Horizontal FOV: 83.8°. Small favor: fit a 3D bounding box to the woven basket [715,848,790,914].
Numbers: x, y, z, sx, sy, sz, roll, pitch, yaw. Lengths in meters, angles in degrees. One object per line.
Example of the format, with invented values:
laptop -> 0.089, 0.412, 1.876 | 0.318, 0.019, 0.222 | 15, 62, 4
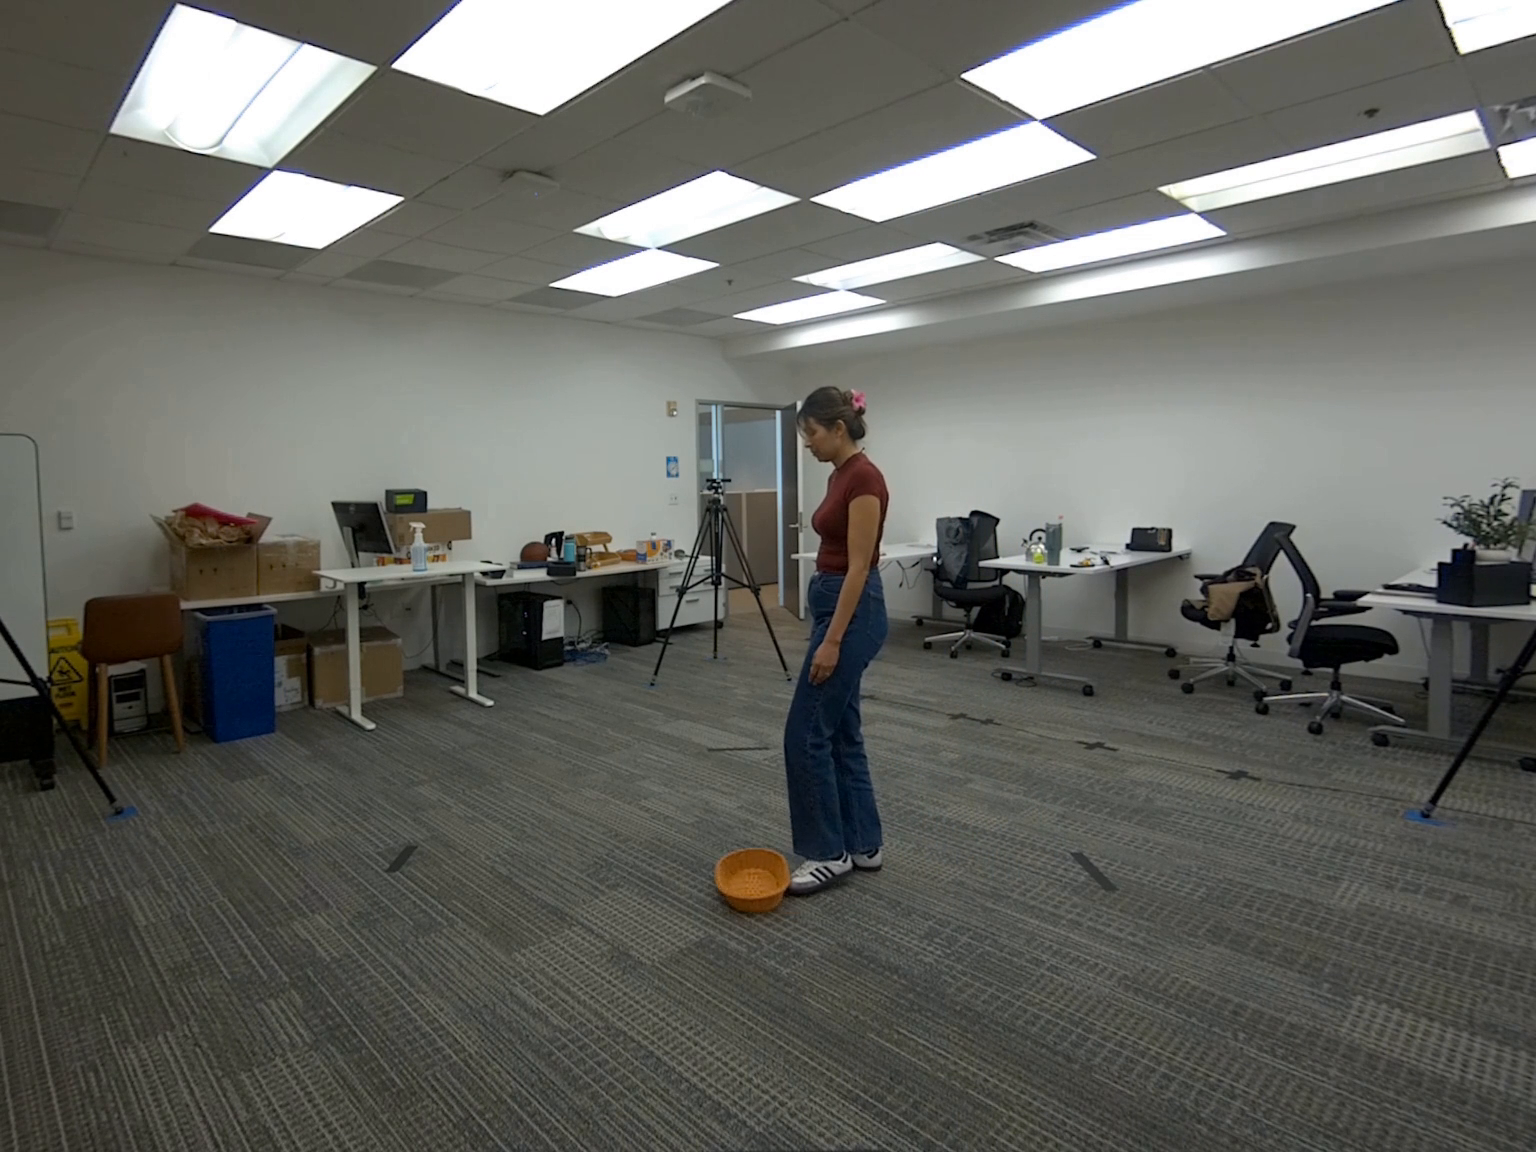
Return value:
woven basket -> -0.051, 1.028, 2.887 | 0.252, 0.073, 0.352 | -4, 8, 0
